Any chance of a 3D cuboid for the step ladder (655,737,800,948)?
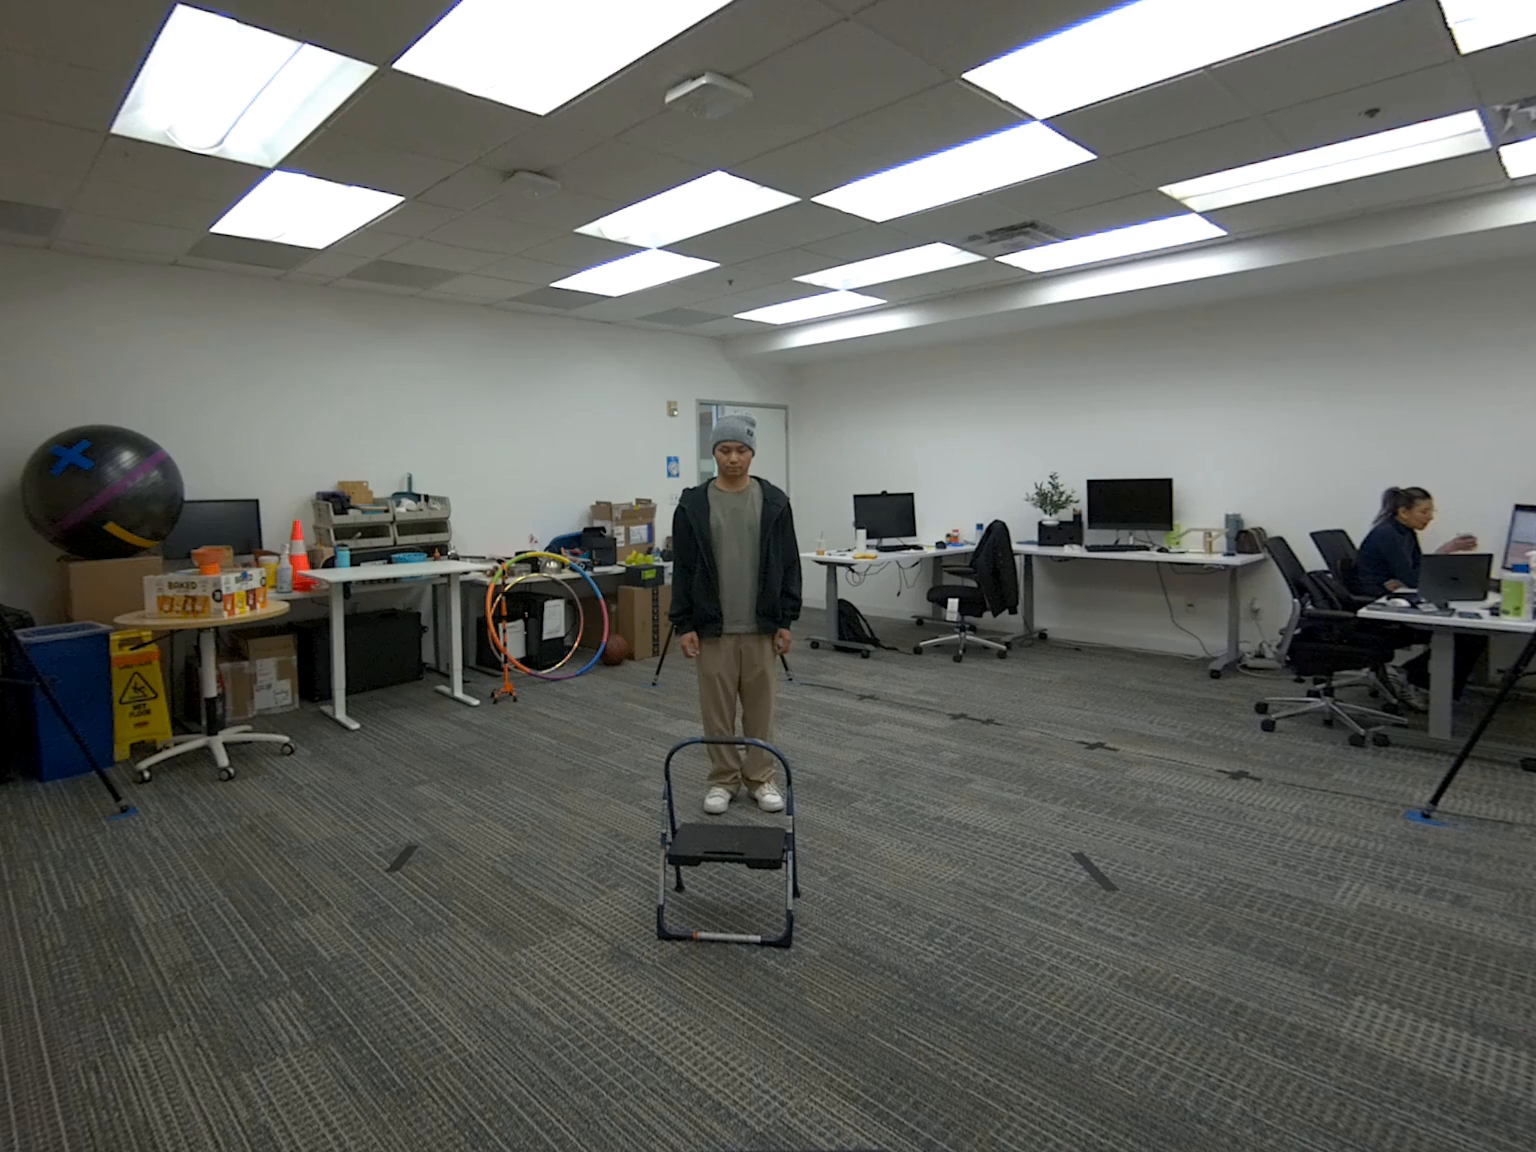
[{"bbox_3d":[-0.125,0.792,2.717,0.434,0.604,0.348,0,5,6],"label":"step ladder"}]
